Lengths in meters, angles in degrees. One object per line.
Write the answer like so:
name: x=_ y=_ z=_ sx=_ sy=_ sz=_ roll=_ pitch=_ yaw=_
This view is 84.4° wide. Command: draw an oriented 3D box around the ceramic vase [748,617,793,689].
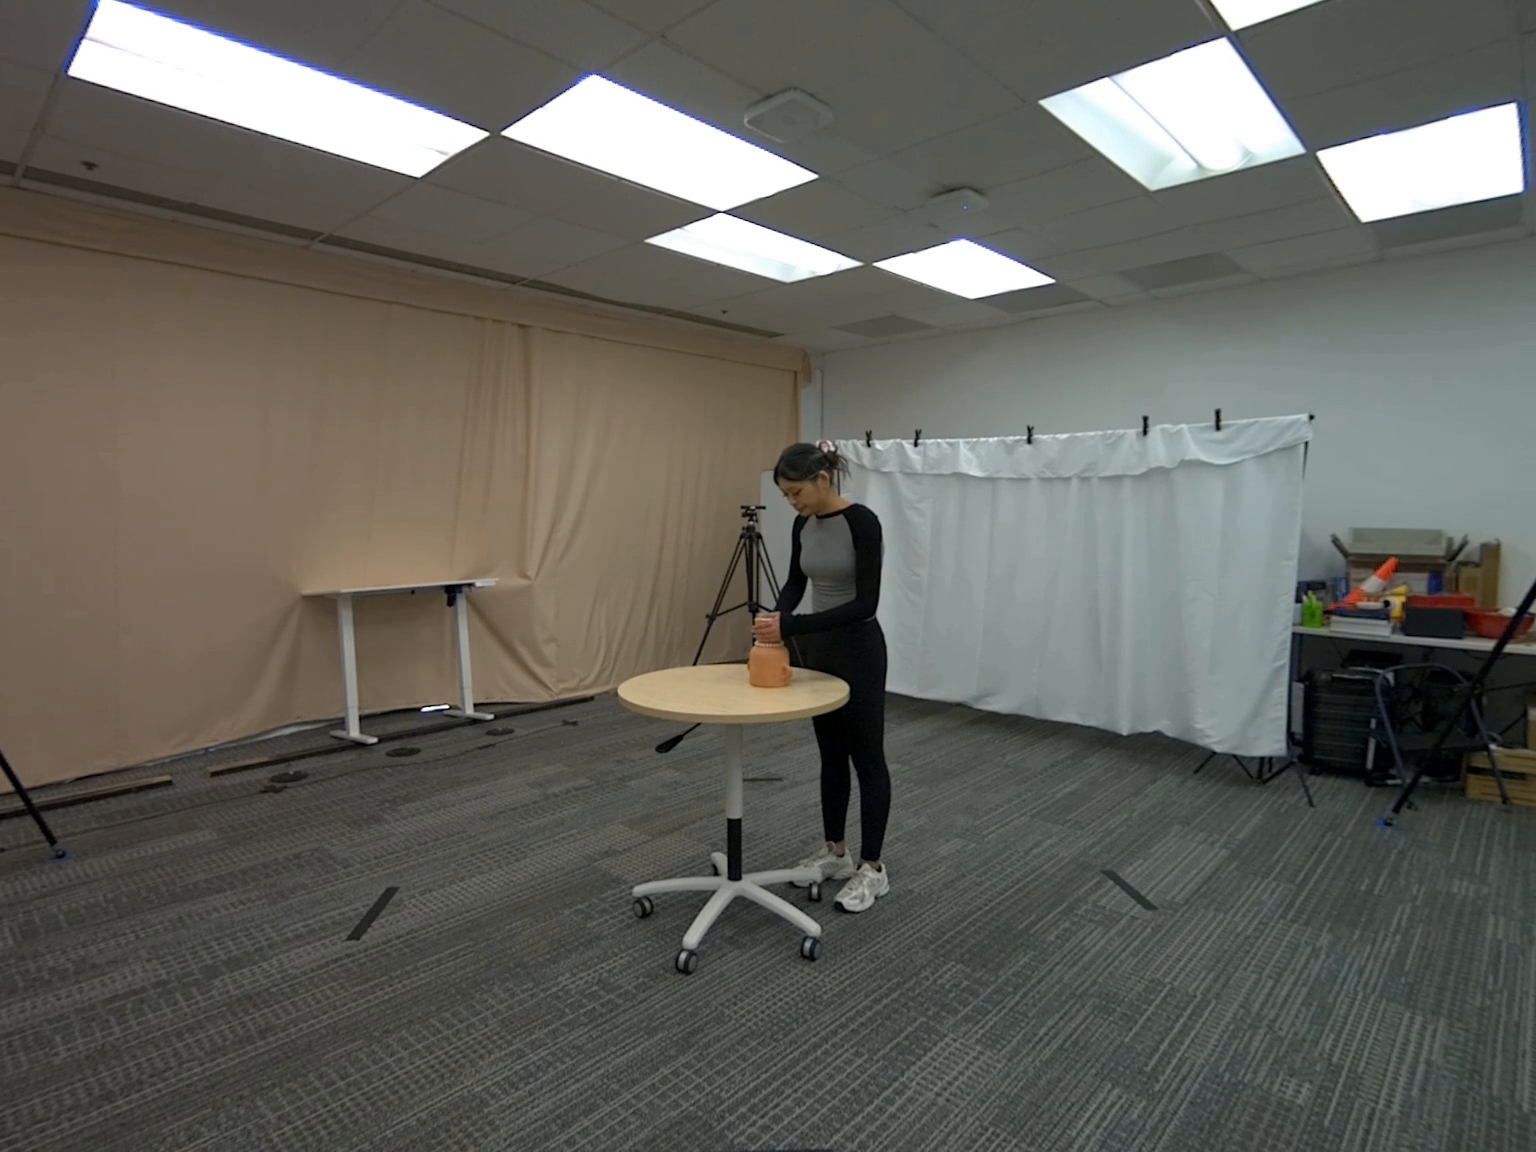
ceramic vase: x=0.015 y=0.249 z=2.823 sx=0.160 sy=0.219 sz=0.134 roll=1 pitch=4 yaw=5
